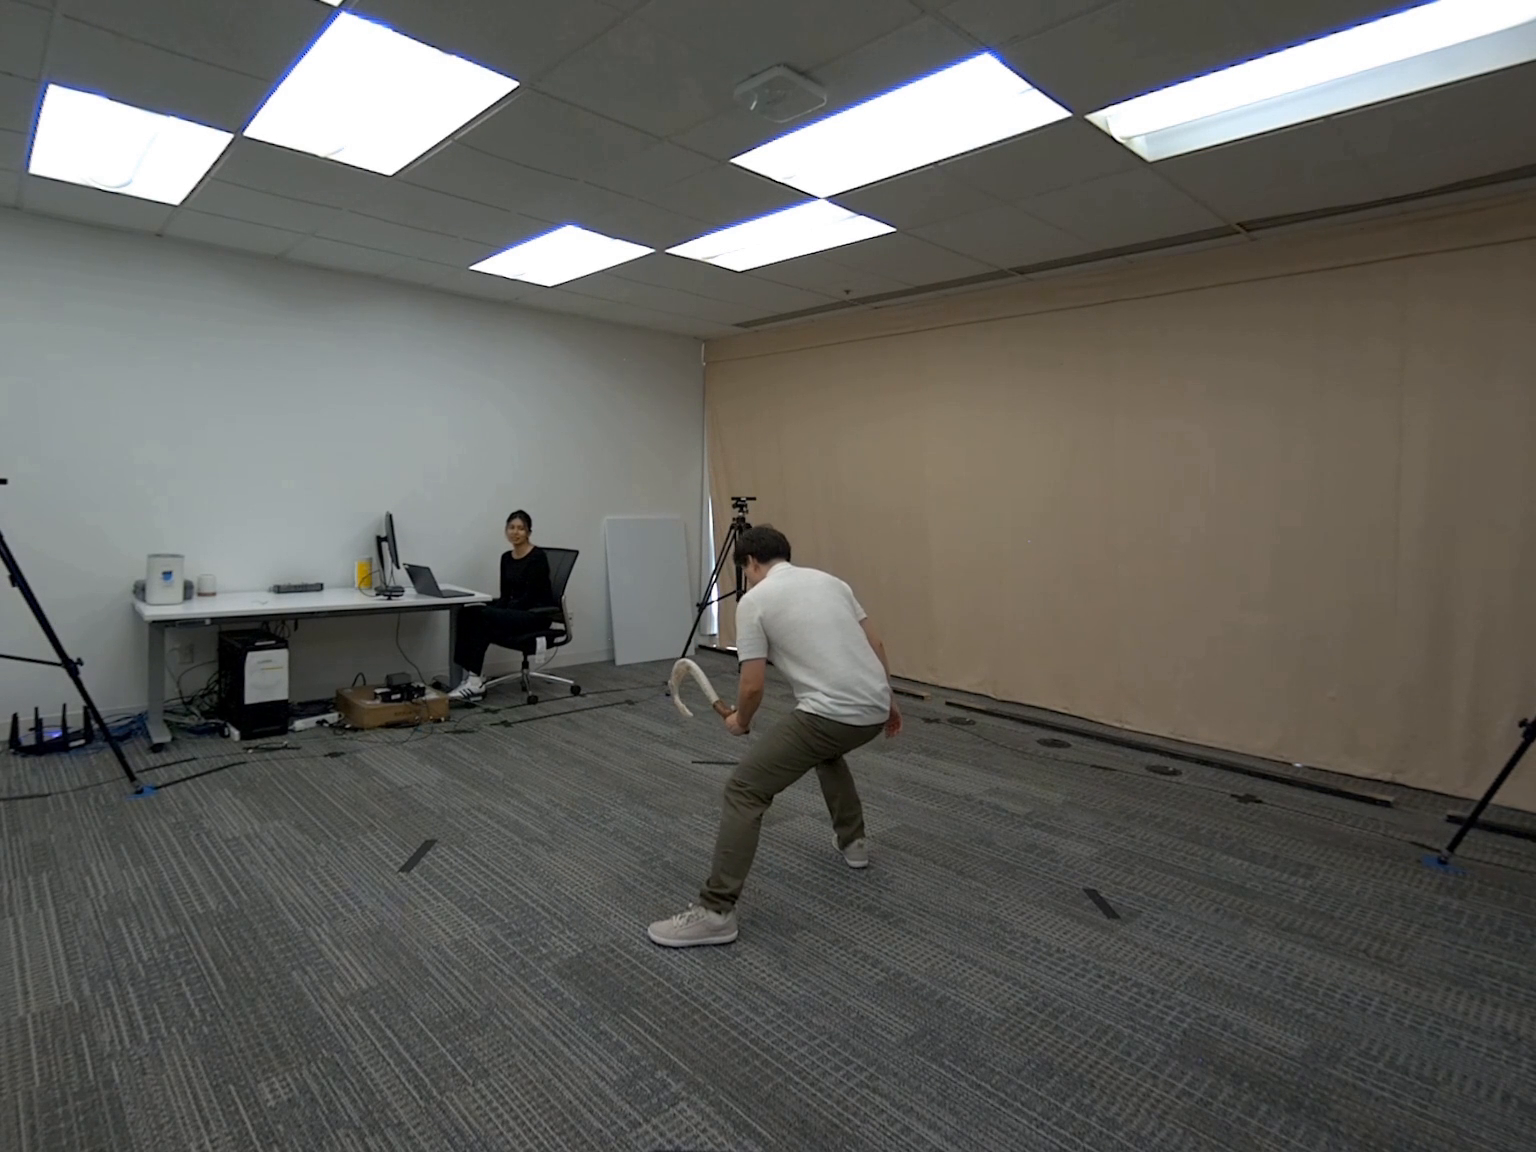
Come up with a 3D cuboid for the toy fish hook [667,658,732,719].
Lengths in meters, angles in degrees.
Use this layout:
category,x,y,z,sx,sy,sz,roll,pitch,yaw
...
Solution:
category,x,y,z,sx,sy,sz,roll,pitch,yaw
toy fish hook,-0.256,0.528,3.367,0.047,0.222,0.523,-2,28,-39
